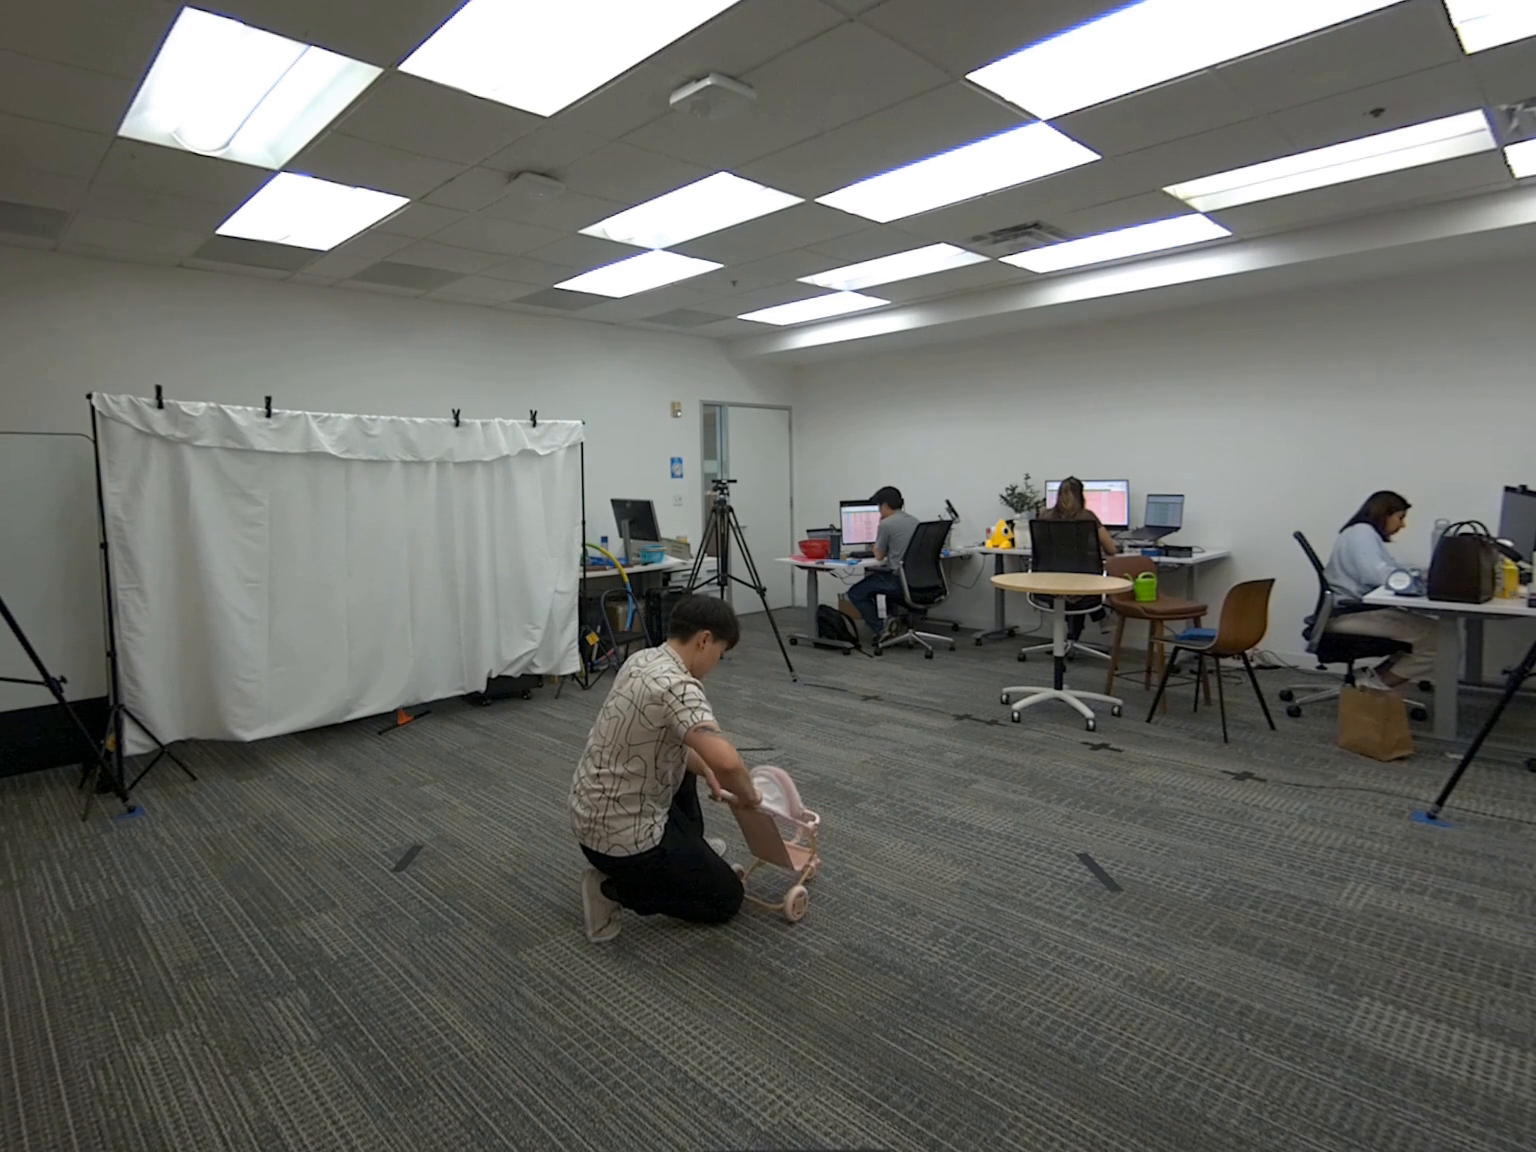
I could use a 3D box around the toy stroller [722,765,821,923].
[{"bbox_3d":[0.030,0.848,2.820,0.290,0.526,0.337,3,22,42],"label":"toy stroller"}]
